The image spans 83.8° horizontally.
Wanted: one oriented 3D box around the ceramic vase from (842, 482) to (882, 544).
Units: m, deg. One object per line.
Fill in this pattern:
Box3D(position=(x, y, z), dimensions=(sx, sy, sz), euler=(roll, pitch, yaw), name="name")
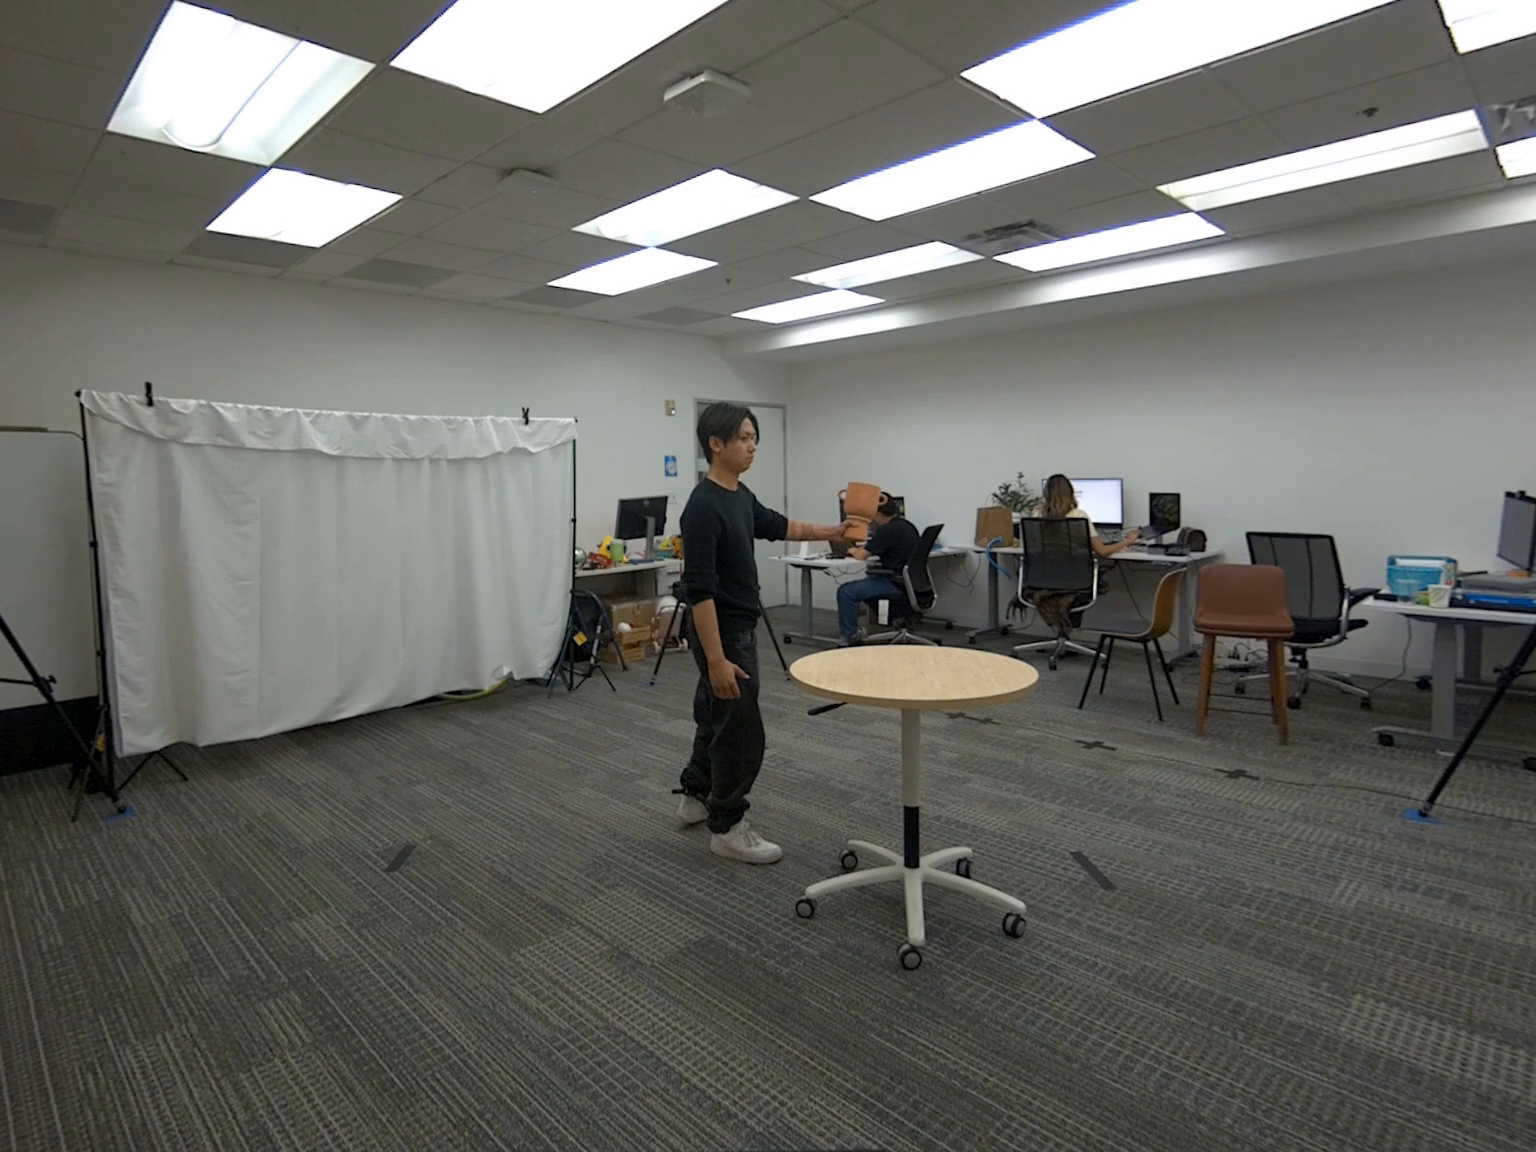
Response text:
Box3D(position=(0.363, -0.251, 3.399), dimensions=(0.130, 0.220, 0.163), euler=(13, -3, -33), name="ceramic vase")
